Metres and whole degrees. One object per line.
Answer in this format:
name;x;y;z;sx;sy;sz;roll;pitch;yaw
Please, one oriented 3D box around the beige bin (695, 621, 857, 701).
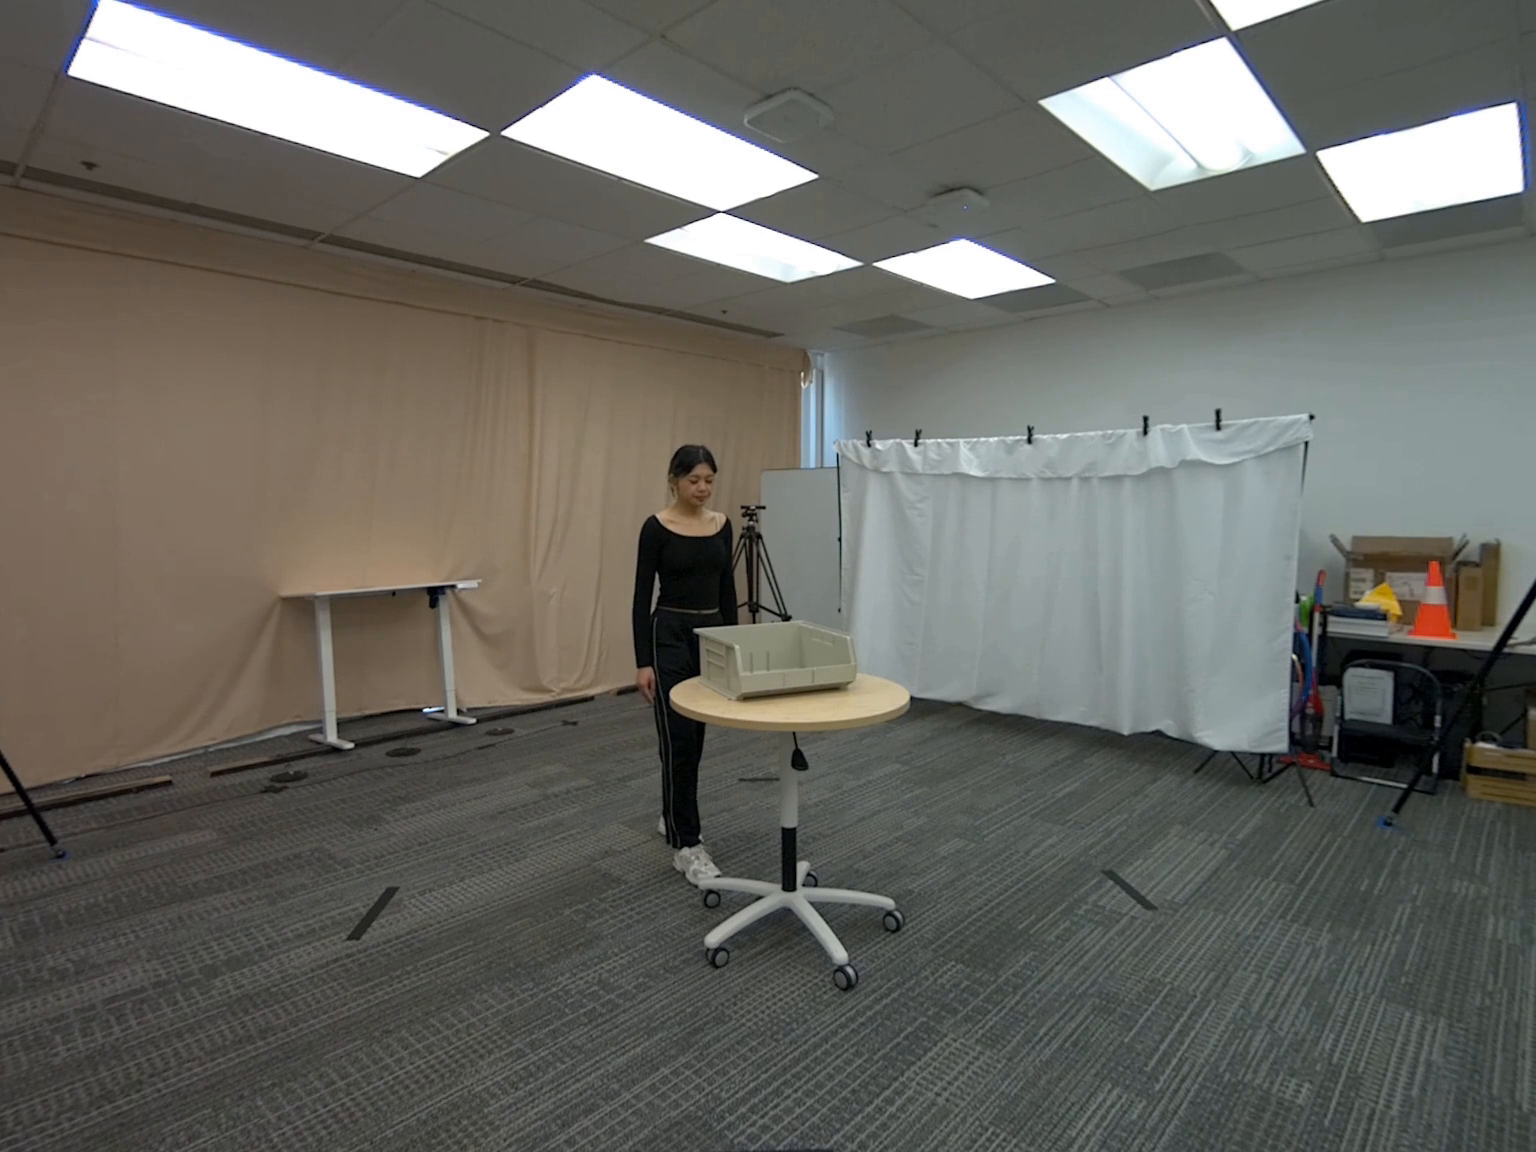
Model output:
beige bin;0.024;0.276;2.787;0.413;0.188;0.387;-3;4;-24
